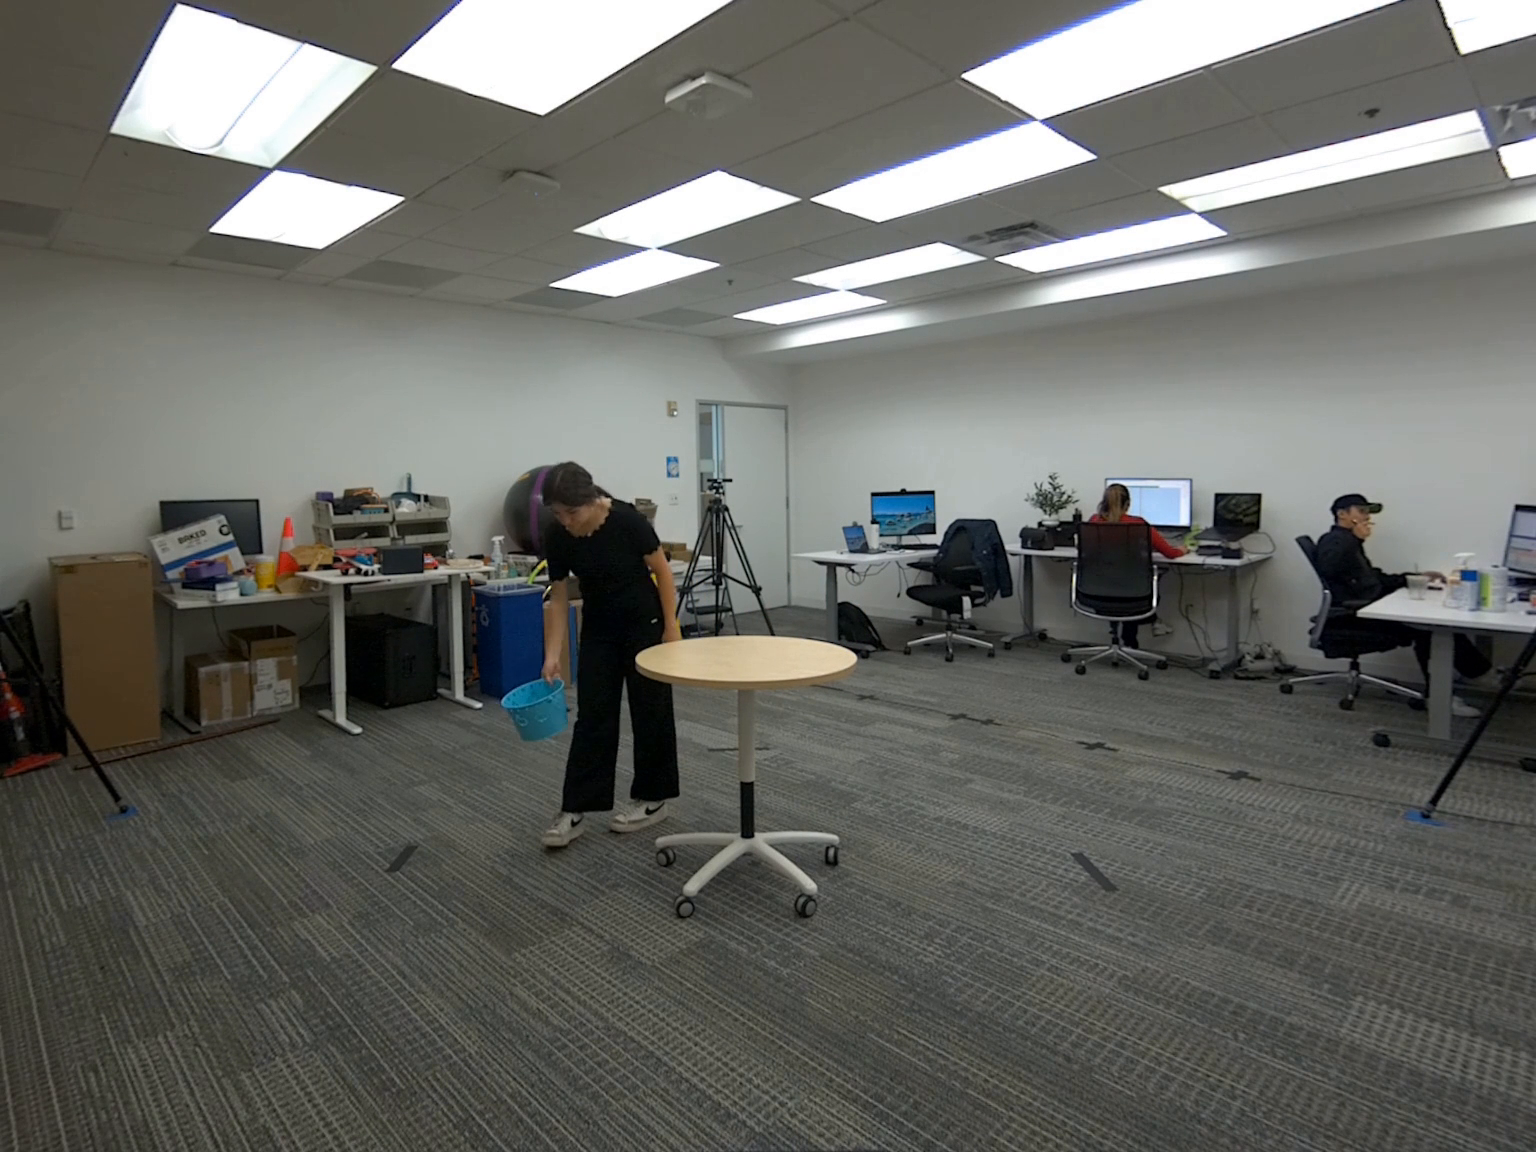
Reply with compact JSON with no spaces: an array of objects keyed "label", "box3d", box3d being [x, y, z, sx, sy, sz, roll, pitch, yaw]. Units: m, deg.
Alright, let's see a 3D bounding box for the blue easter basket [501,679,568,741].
[{"label":"blue easter basket","box3d":[-0.849,0.502,3.159,0.244,0.153,0.247,-13,15,2]}]
